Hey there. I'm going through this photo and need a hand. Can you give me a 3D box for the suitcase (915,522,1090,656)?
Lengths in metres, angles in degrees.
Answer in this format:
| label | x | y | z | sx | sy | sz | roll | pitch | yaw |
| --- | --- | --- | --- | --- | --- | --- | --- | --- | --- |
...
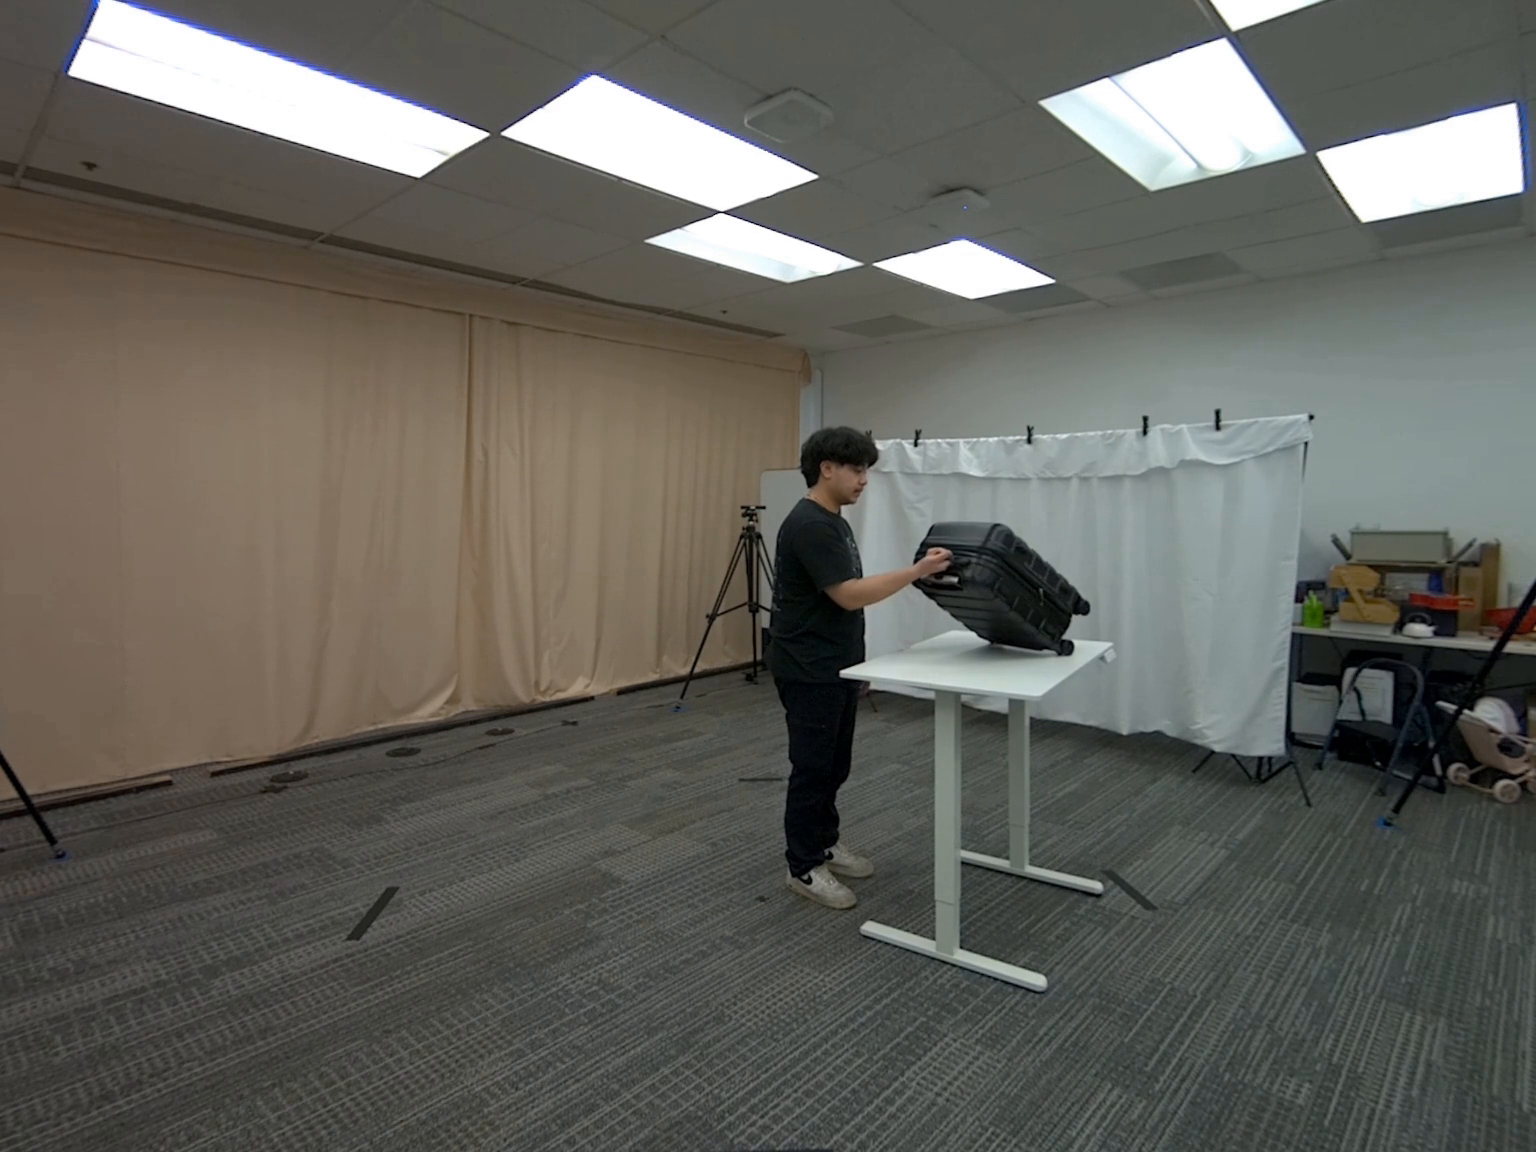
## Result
| label | x | y | z | sx | sy | sz | roll | pitch | yaw |
| --- | --- | --- | --- | --- | --- | --- | --- | --- | --- |
| suitcase | 0.788 | 0.040 | 2.858 | 0.532 | 0.248 | 0.387 | 35 | -15 | -30 |
